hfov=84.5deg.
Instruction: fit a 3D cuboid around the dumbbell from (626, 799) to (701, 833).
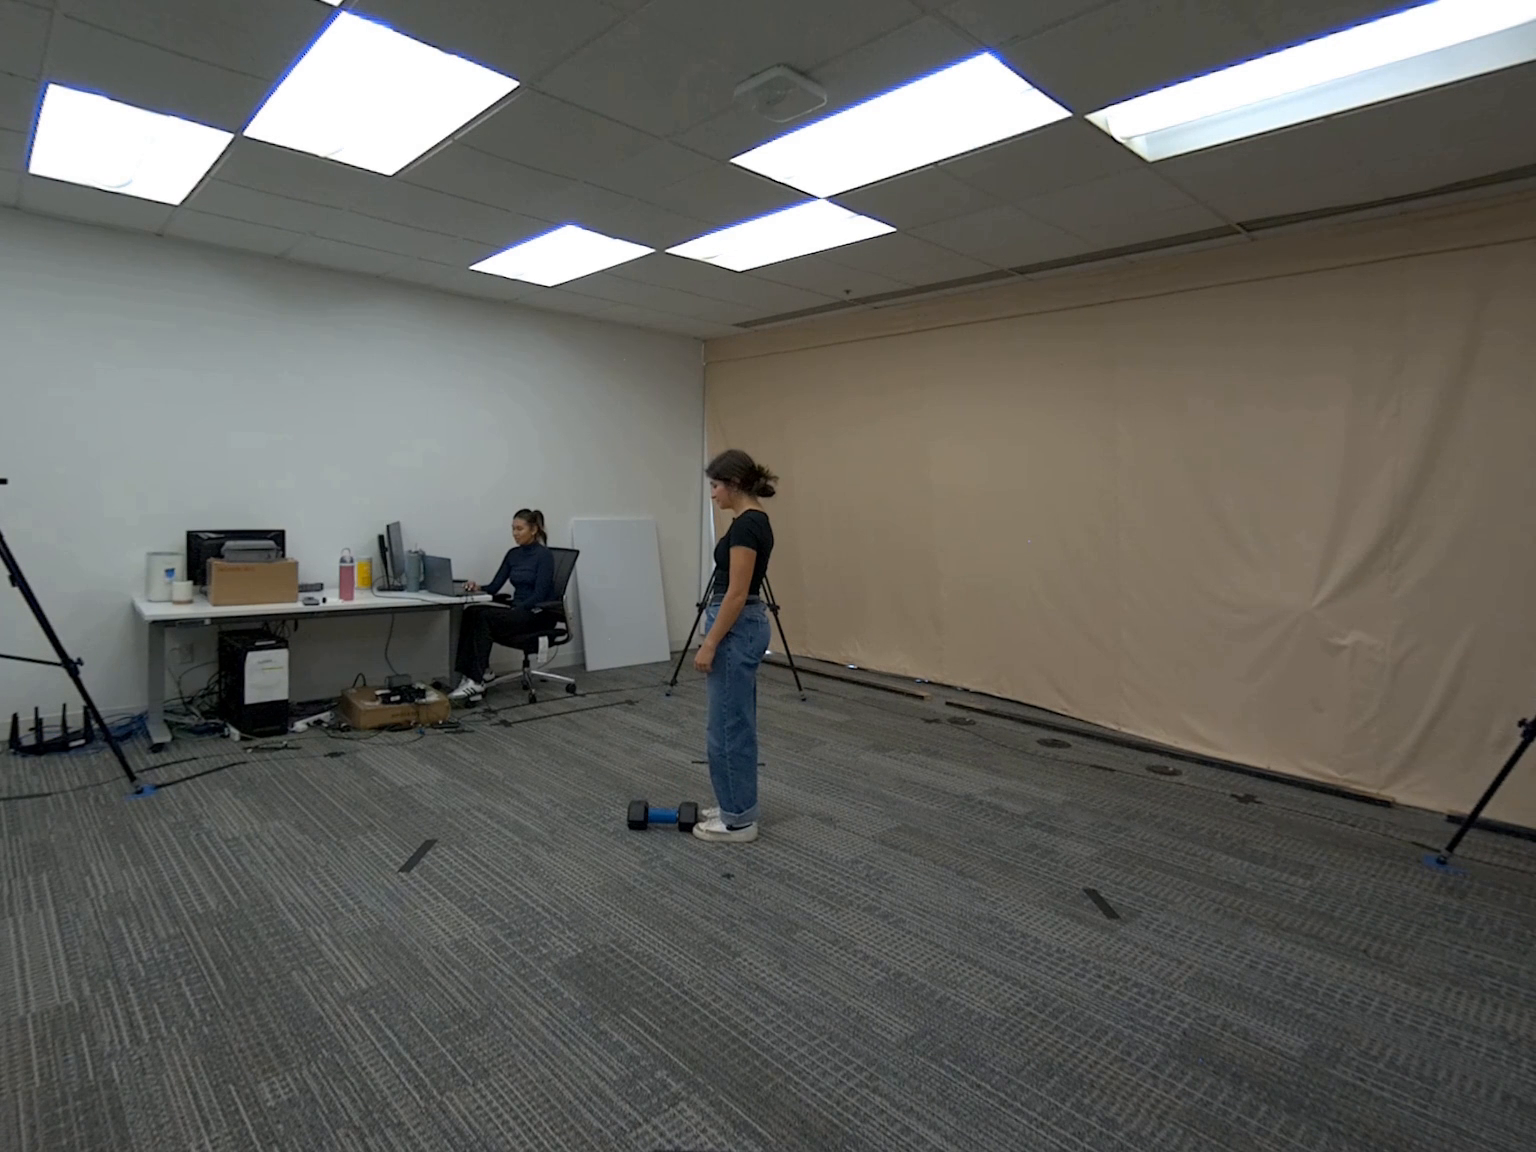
[{"bbox_3d":[-0.446,1.001,3.538,0.294,0.120,0.111,2,33,1],"label":"dumbbell"}]
